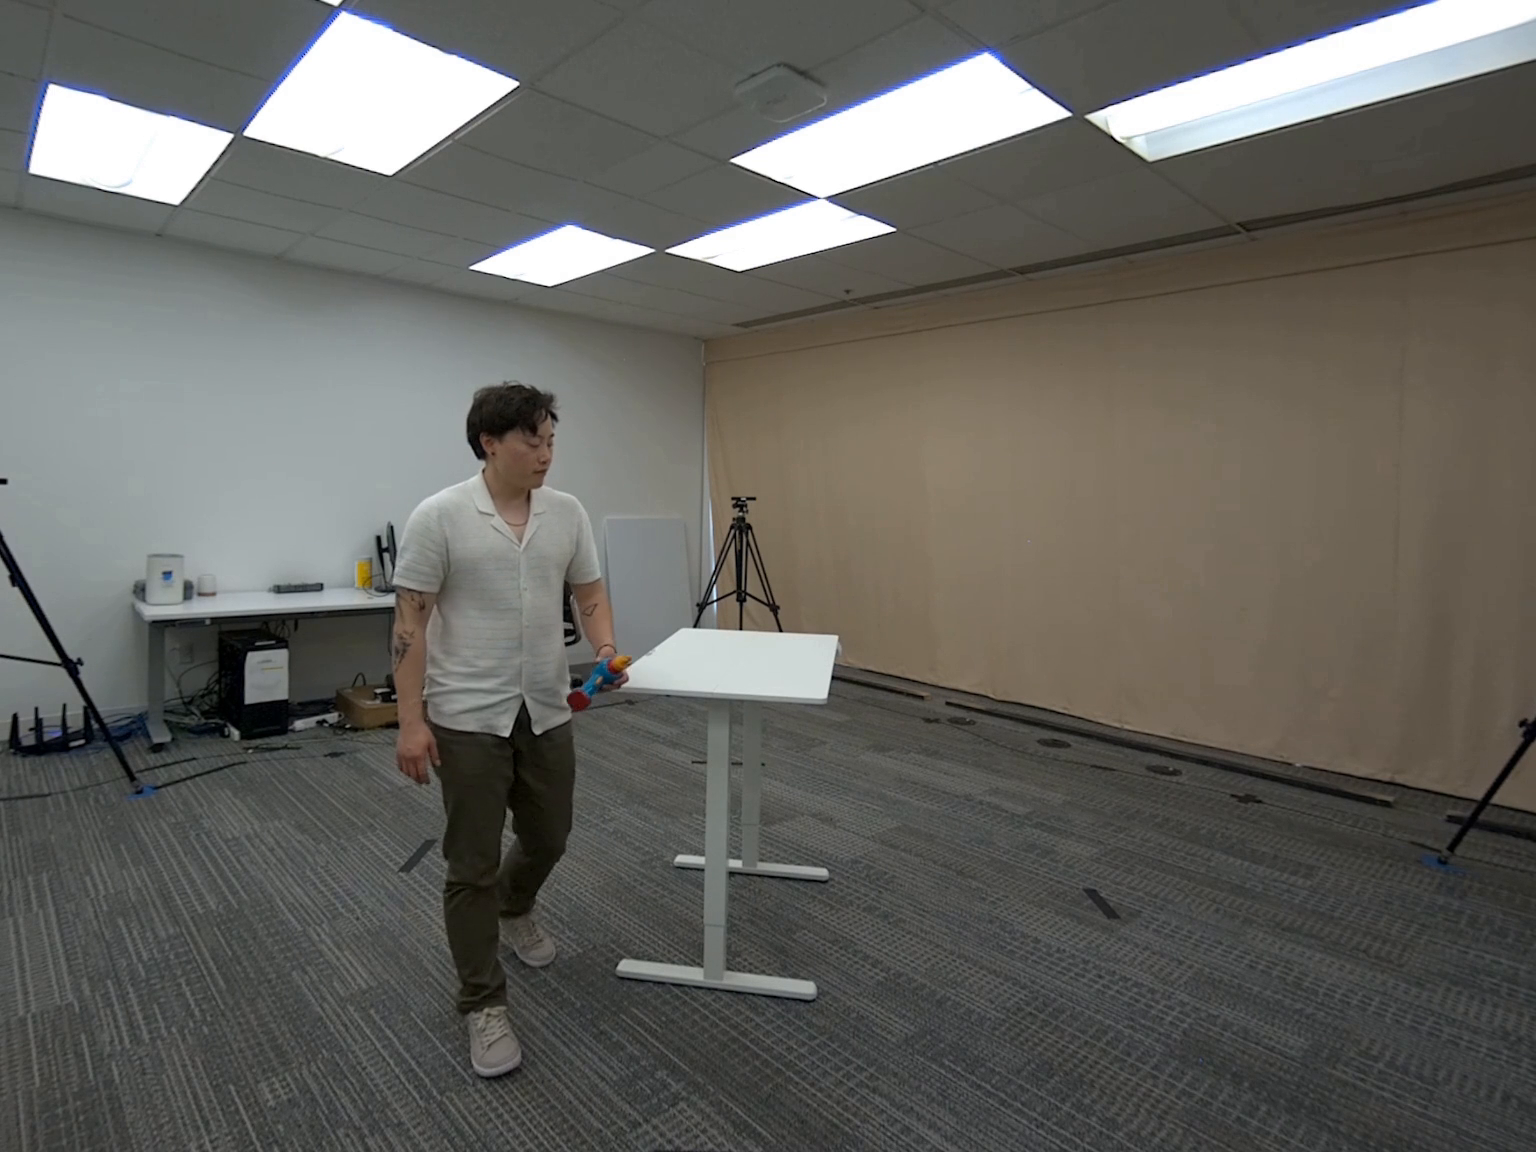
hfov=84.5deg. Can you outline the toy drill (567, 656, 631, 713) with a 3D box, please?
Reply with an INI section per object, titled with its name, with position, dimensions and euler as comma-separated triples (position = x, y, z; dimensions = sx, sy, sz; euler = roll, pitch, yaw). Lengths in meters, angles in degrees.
[toy drill]
position = -0.418, 0.252, 2.032
dimensions = 0.171, 0.061, 0.146
euler = -30, 11, 39
